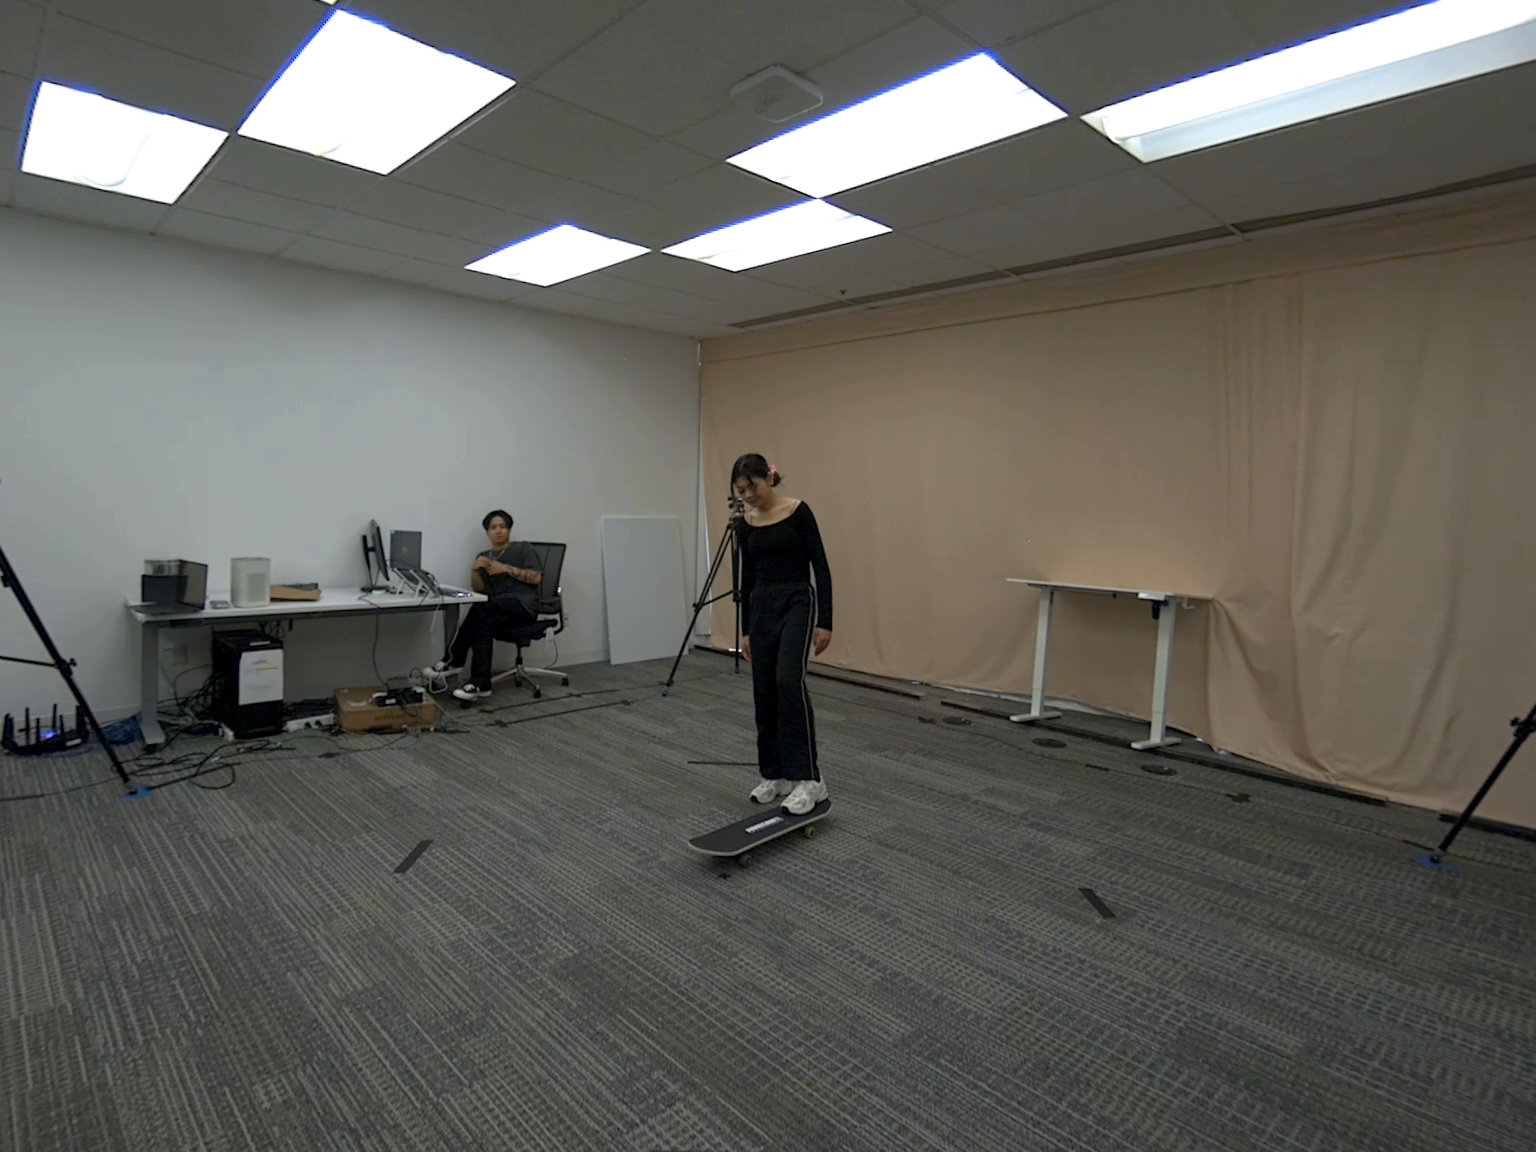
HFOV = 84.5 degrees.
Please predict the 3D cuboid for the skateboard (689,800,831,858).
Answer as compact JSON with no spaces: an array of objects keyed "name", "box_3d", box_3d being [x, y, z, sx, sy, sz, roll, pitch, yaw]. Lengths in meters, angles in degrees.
[{"name":"skateboard","box_3d":[-0.021,1.030,3.381,0.198,0.110,0.767,6,6,41]}]
